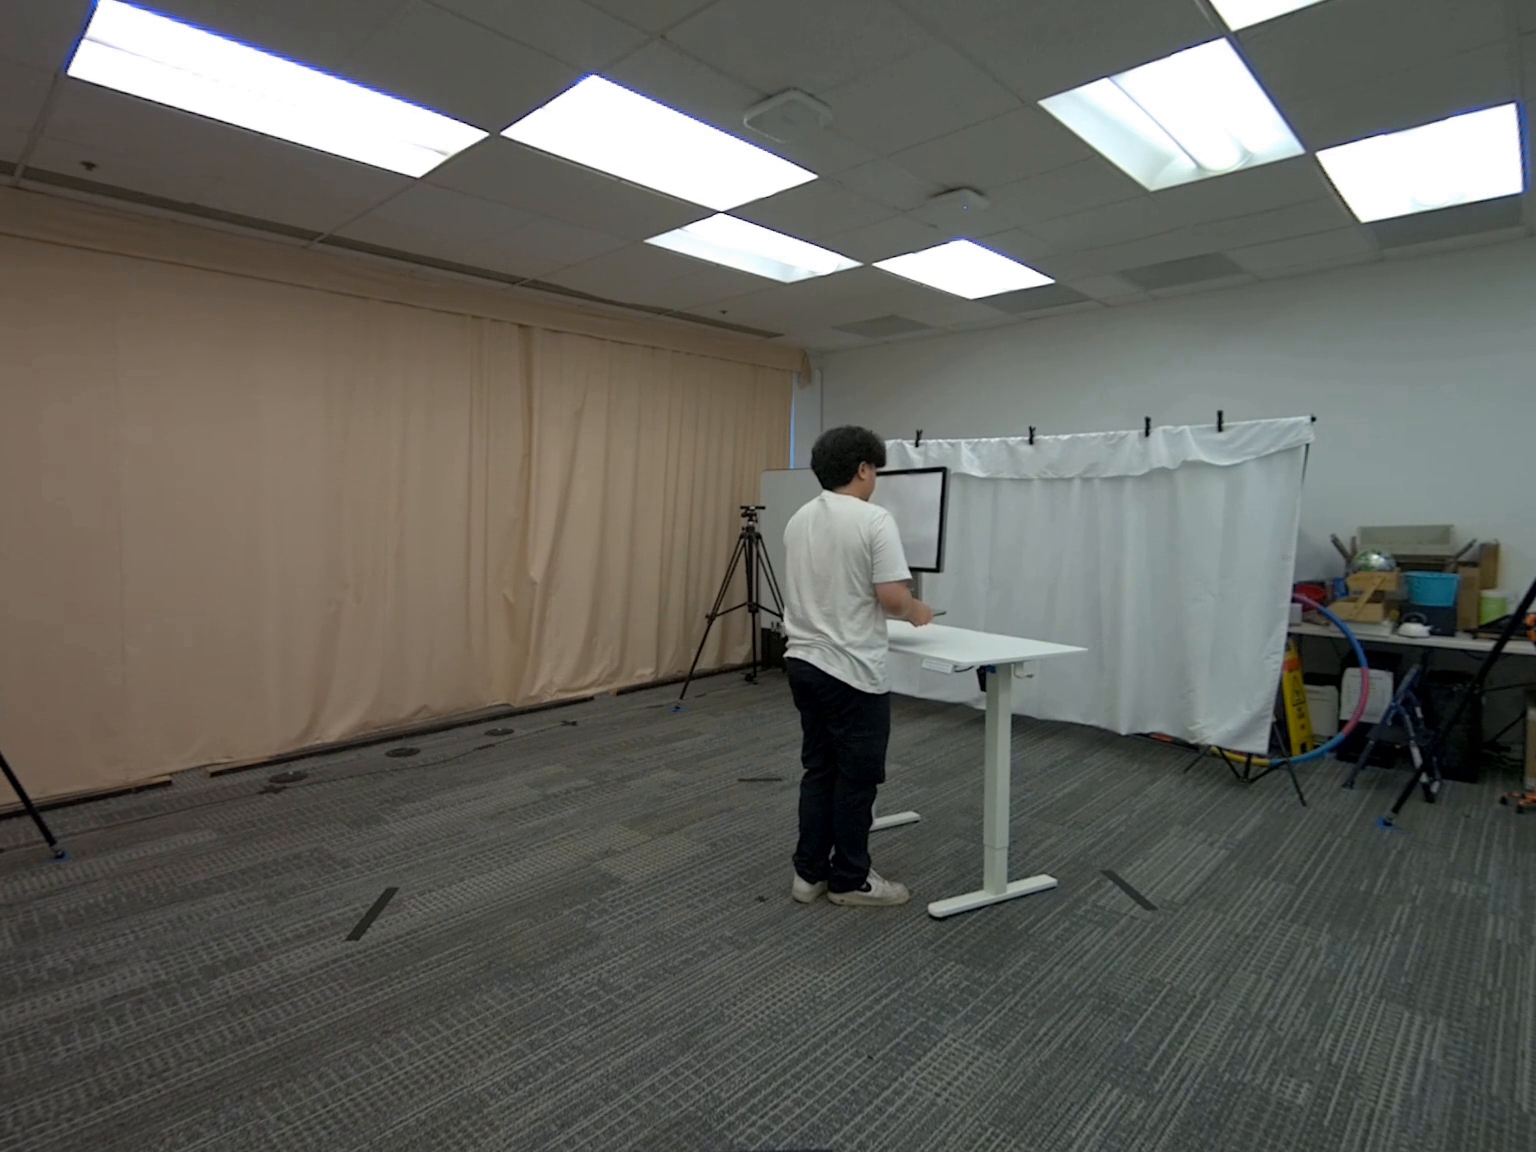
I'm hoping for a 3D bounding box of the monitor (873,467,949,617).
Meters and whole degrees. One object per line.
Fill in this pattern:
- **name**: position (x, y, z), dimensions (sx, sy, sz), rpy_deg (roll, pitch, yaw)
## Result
- **monitor**: position (0.507, -0.119, 3.122), dimensions (0.204, 0.553, 0.582), rpy_deg (-2, 3, -31)
